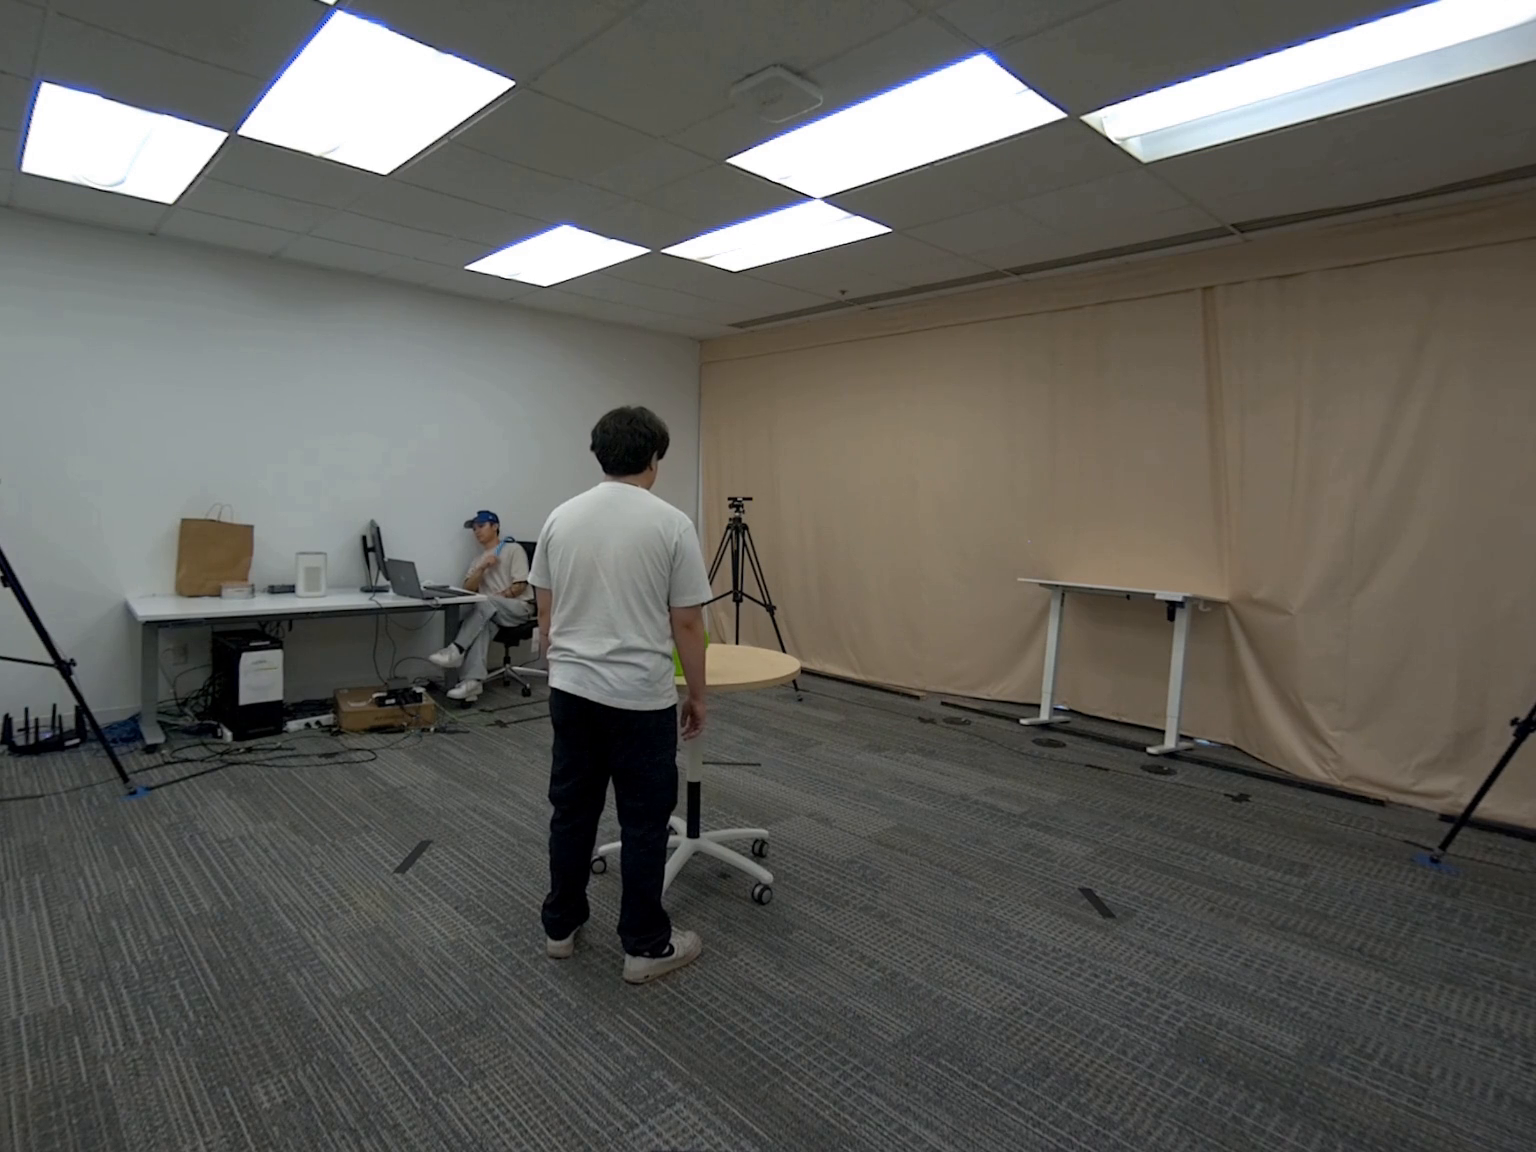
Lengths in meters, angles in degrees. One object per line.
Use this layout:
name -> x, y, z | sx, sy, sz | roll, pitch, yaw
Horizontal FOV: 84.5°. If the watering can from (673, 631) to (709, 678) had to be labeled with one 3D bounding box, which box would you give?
watering can -> -0.351, 0.250, 2.866 | 0.281, 0.176, 0.097 | 4, 5, 11
